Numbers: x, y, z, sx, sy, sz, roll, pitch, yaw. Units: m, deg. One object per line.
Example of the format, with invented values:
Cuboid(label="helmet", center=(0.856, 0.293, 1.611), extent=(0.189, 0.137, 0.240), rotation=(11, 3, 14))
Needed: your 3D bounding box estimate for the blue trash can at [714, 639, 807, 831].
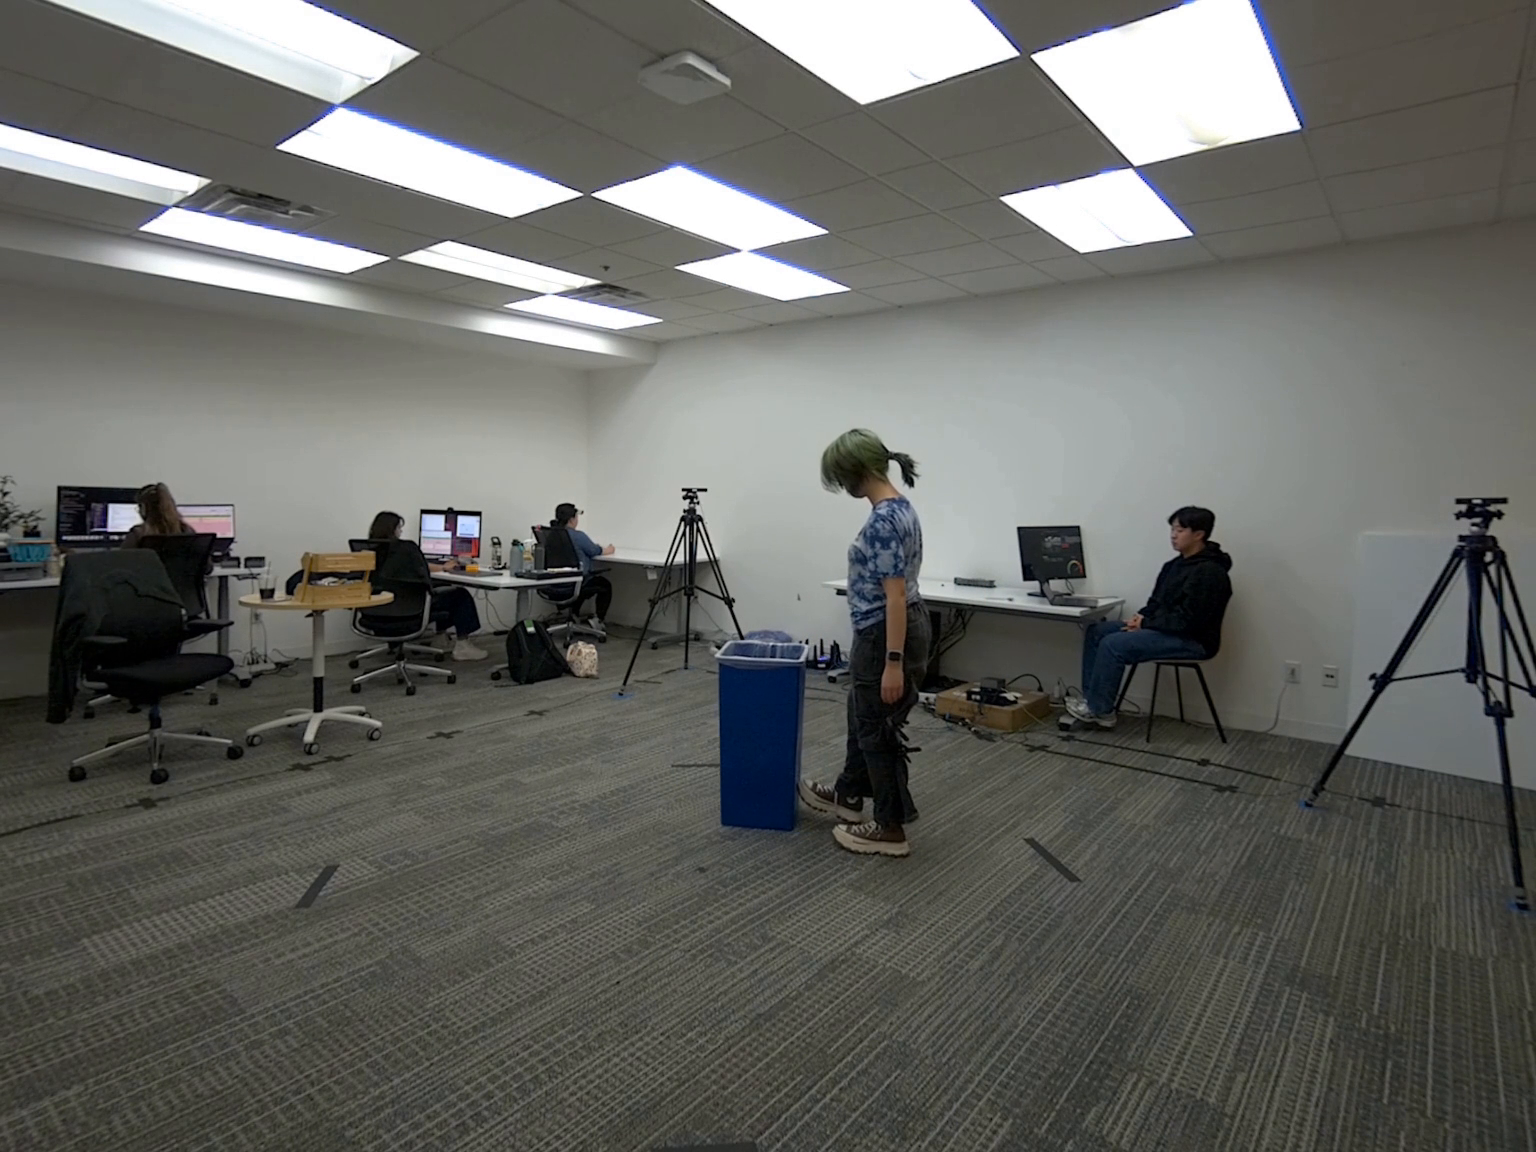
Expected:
Cuboid(label="blue trash can", center=(-0.038, 0.666, 3.622), extent=(0.382, 0.711, 0.371), rotation=(1, 3, 8))
